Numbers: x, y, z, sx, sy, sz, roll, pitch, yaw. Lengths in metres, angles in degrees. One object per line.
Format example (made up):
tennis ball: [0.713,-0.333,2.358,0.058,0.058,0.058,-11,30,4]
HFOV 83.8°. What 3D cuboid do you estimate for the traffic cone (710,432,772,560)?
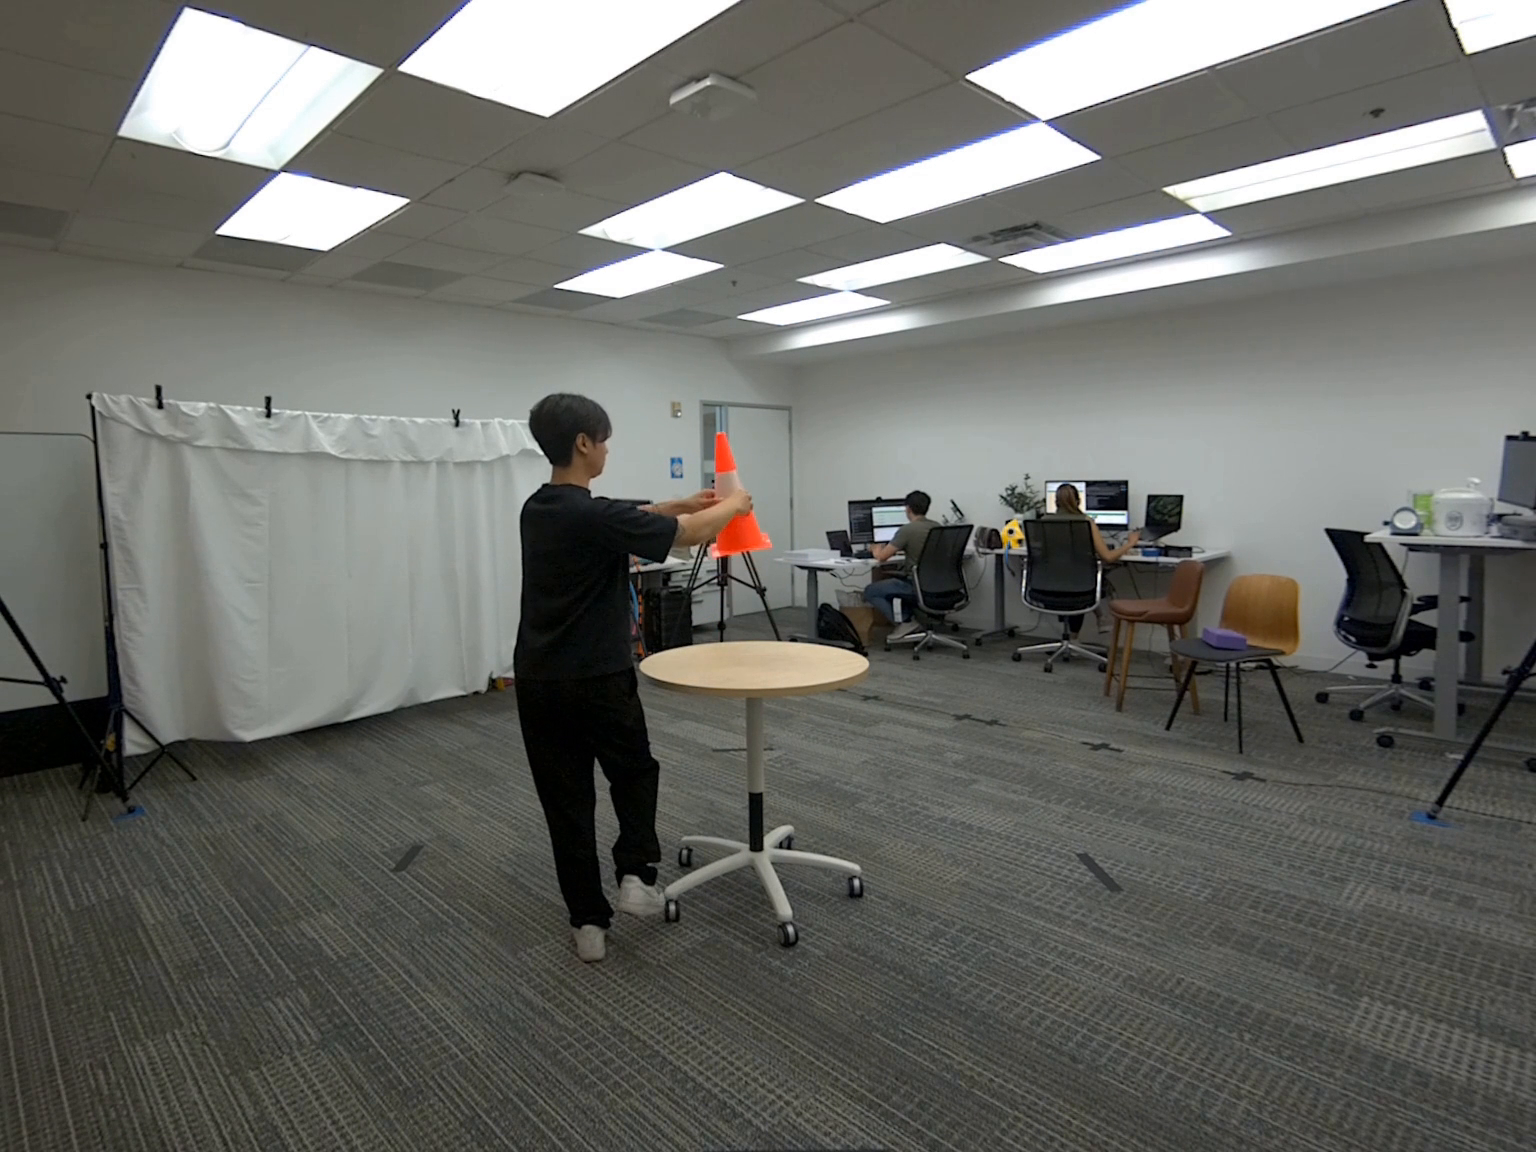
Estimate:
traffic cone: [-0.119,-0.272,2.806,0.202,0.379,0.208,-11,10,-7]
